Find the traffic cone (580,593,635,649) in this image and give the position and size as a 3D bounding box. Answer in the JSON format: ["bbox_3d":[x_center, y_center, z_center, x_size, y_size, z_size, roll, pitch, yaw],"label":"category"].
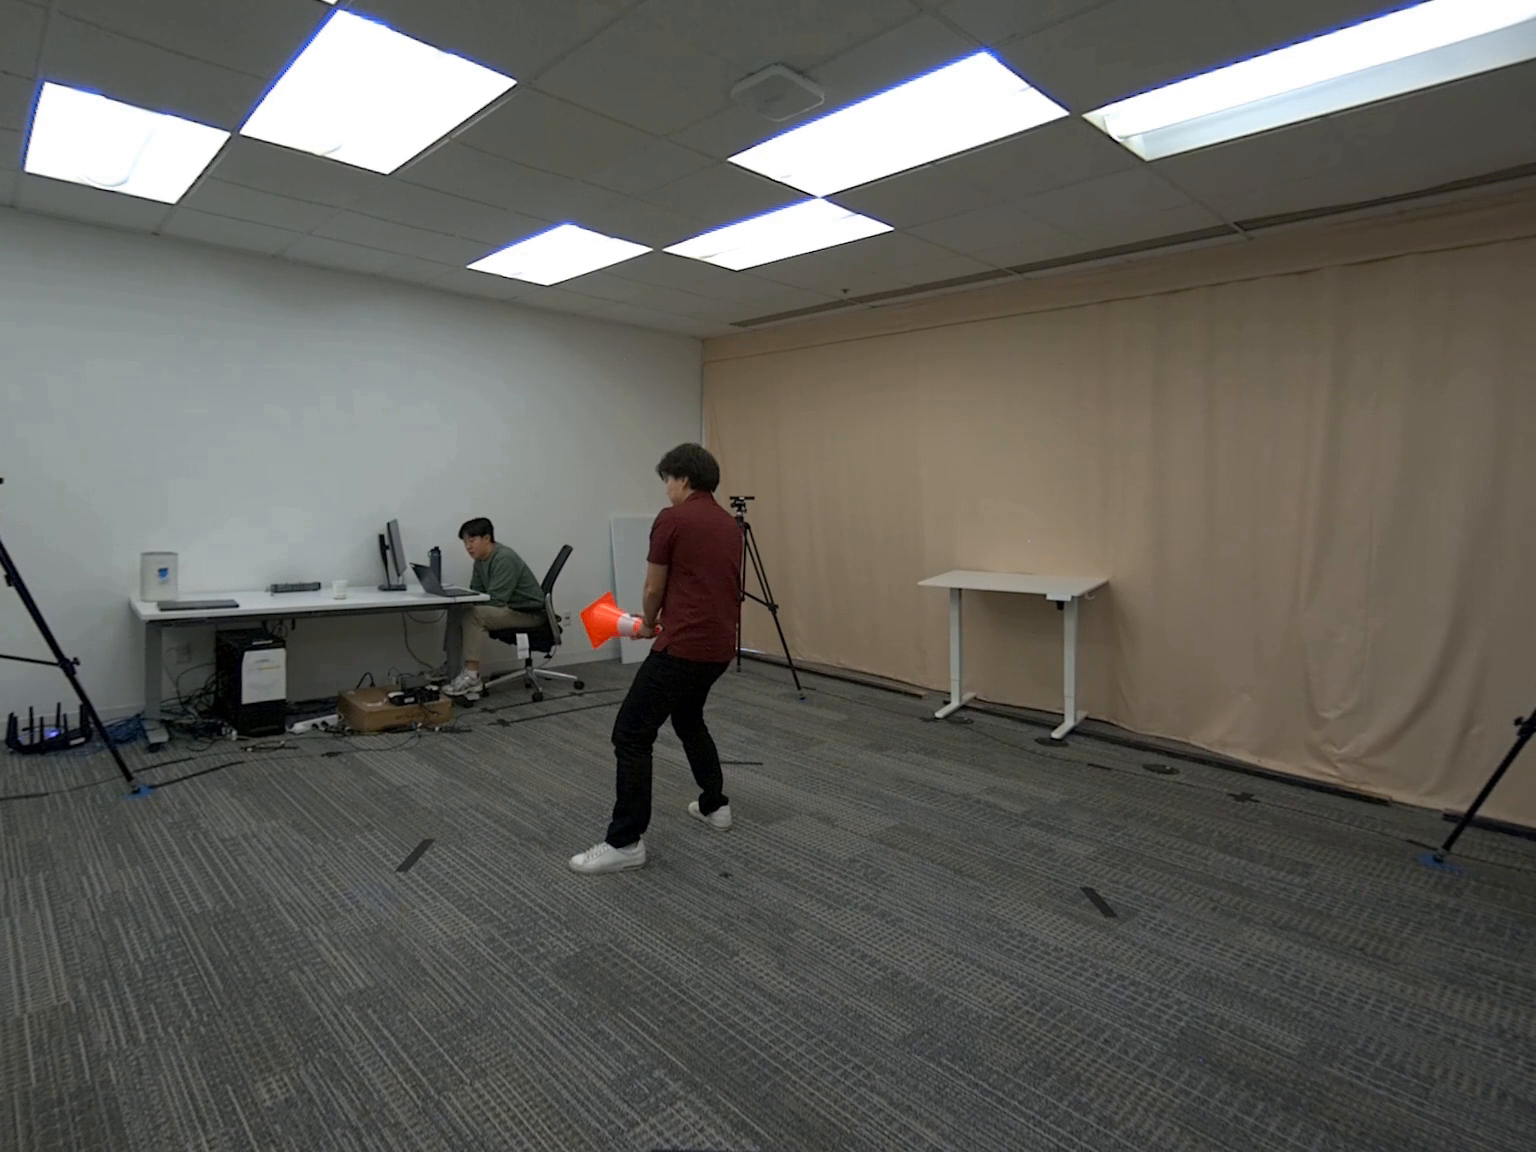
[{"bbox_3d":[-0.614,0.213,3.696,0.393,0.201,0.202,6,32,42],"label":"traffic cone"}]
